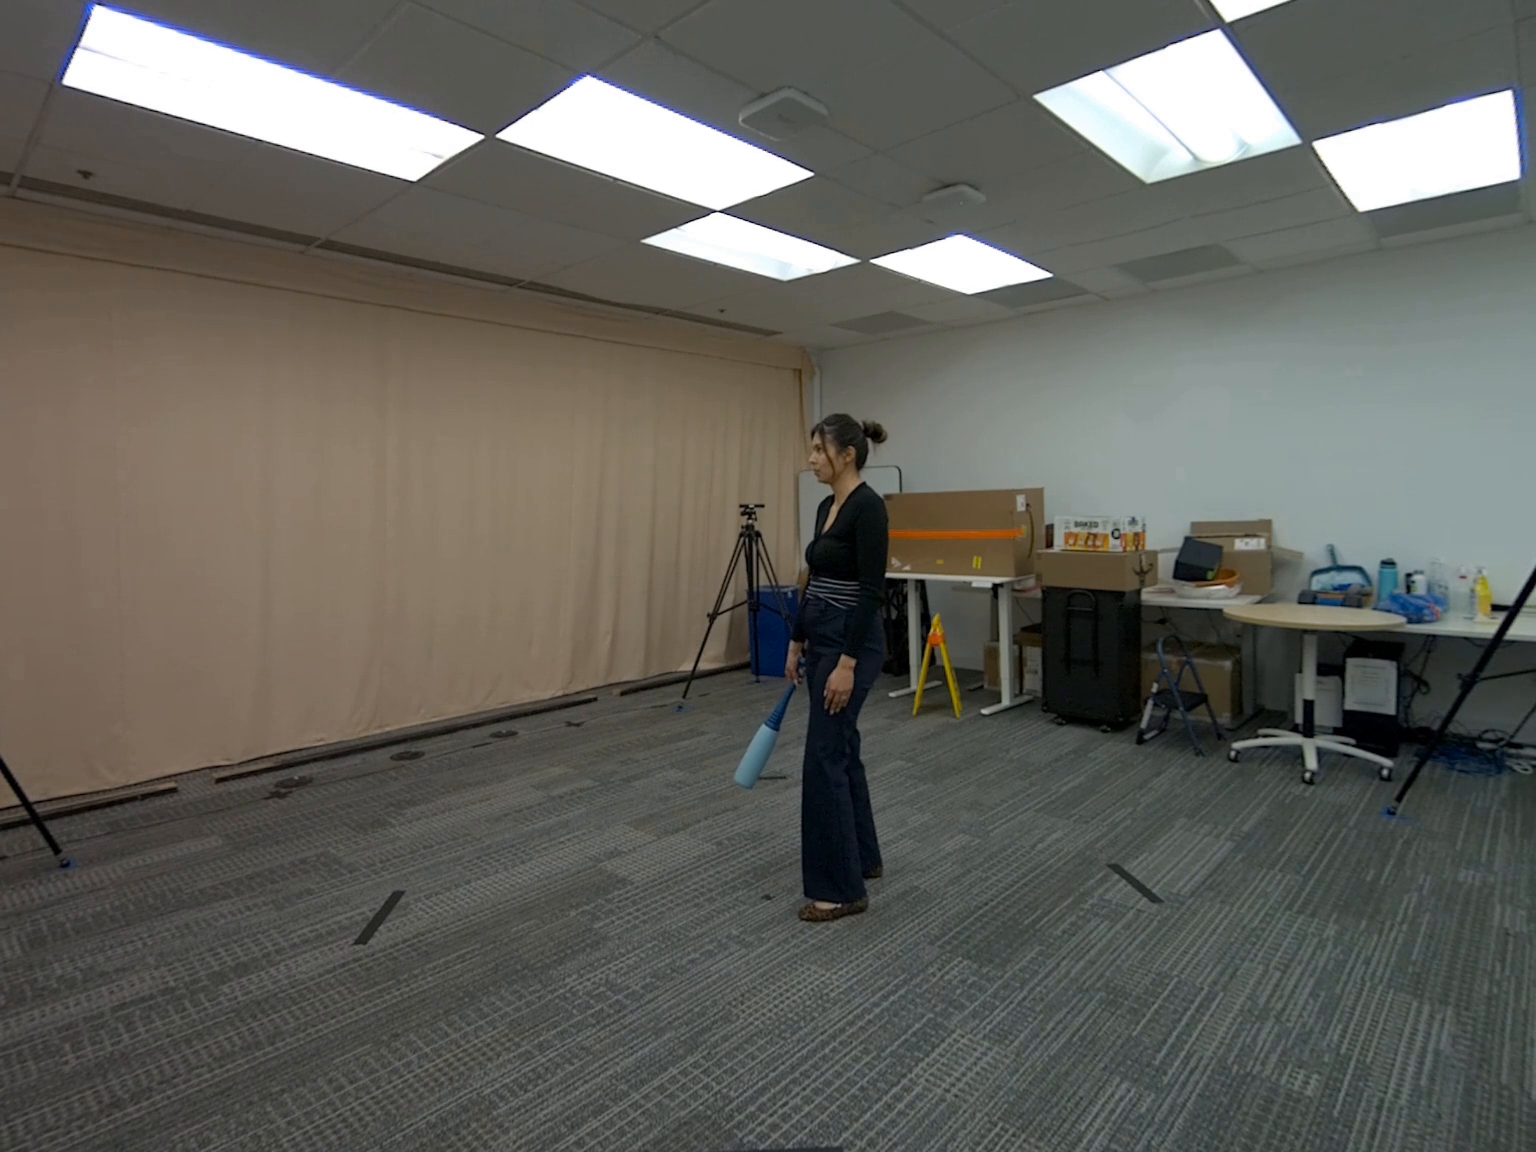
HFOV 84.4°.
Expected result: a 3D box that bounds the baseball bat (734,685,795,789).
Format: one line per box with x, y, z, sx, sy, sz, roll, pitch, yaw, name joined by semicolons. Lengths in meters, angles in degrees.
0.030;0.565;3.226;0.089;0.543;0.089;25;3;-4;baseball bat
